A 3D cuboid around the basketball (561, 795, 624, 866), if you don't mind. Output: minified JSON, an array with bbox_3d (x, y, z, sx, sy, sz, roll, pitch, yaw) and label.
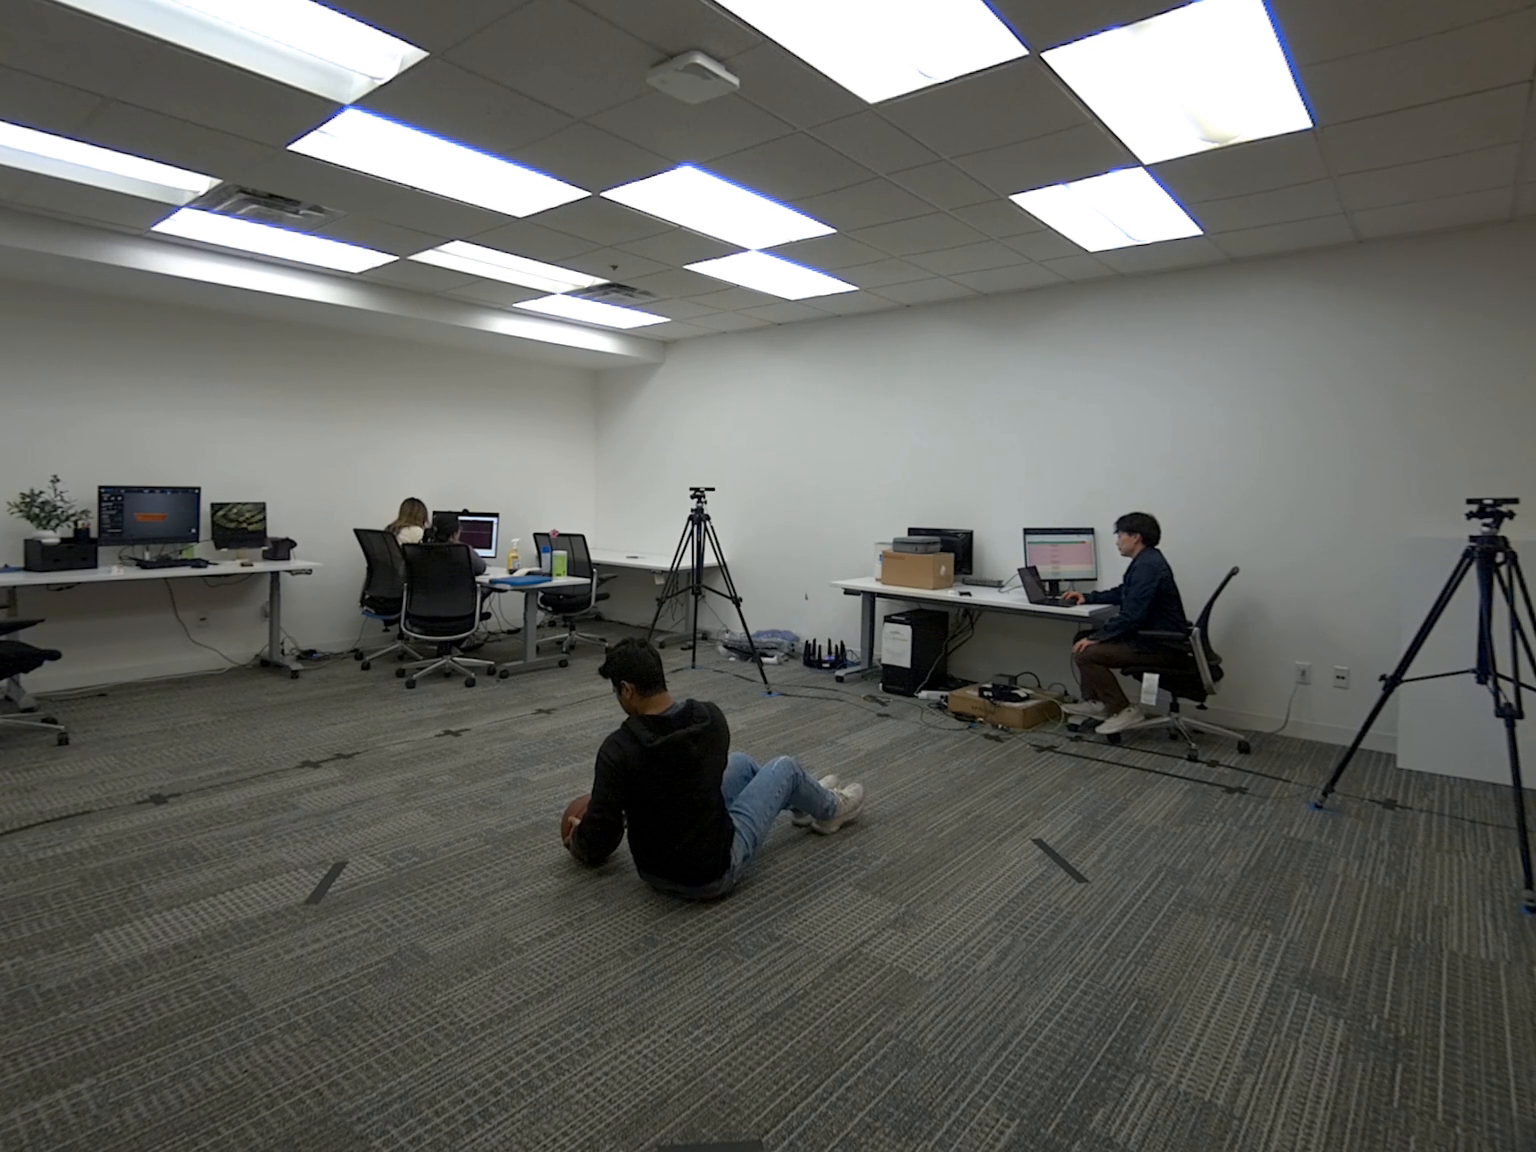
[{"bbox_3d":[-0.663,0.927,3.174,0.235,0.235,0.237,1,4,-2],"label":"basketball"}]
